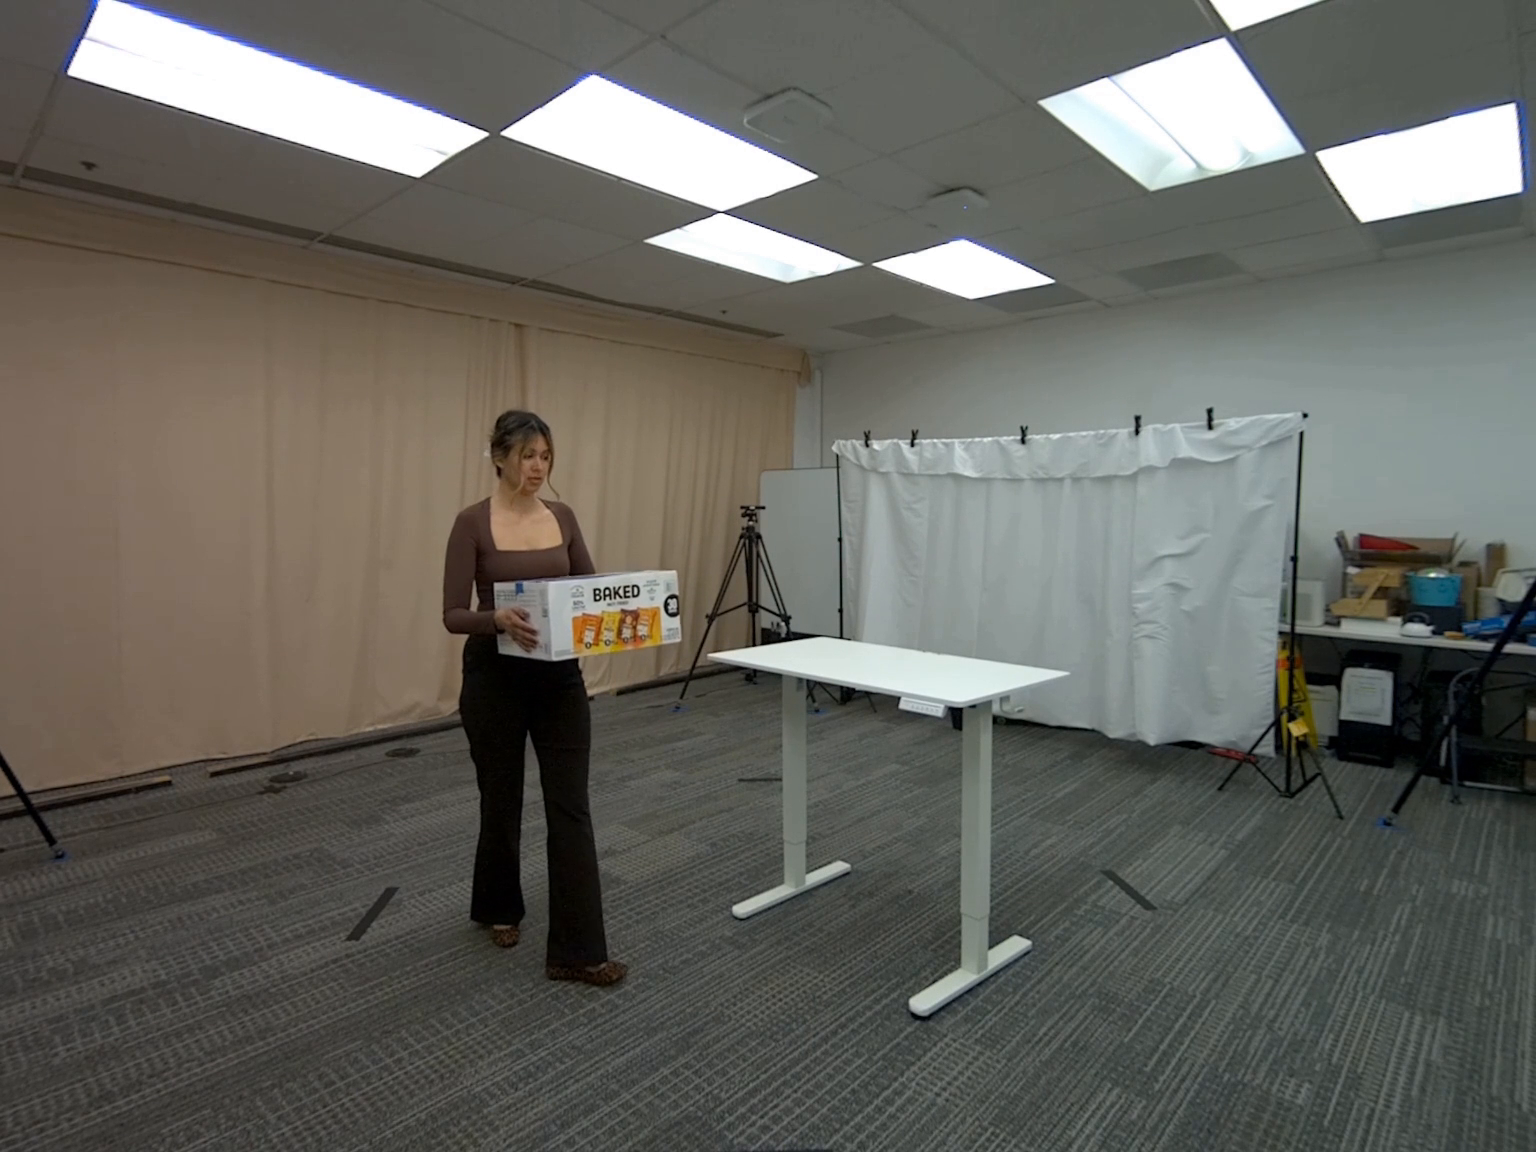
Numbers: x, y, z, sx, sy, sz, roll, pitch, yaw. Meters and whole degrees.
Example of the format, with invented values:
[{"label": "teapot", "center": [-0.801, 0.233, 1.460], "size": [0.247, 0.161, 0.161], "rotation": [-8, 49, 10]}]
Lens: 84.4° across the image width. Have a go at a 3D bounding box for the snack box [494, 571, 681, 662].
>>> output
[{"label": "snack box", "center": [-0.506, 0.102, 2.375], "size": [0.393, 0.205, 0.351], "rotation": [-5, 2, -40]}]
